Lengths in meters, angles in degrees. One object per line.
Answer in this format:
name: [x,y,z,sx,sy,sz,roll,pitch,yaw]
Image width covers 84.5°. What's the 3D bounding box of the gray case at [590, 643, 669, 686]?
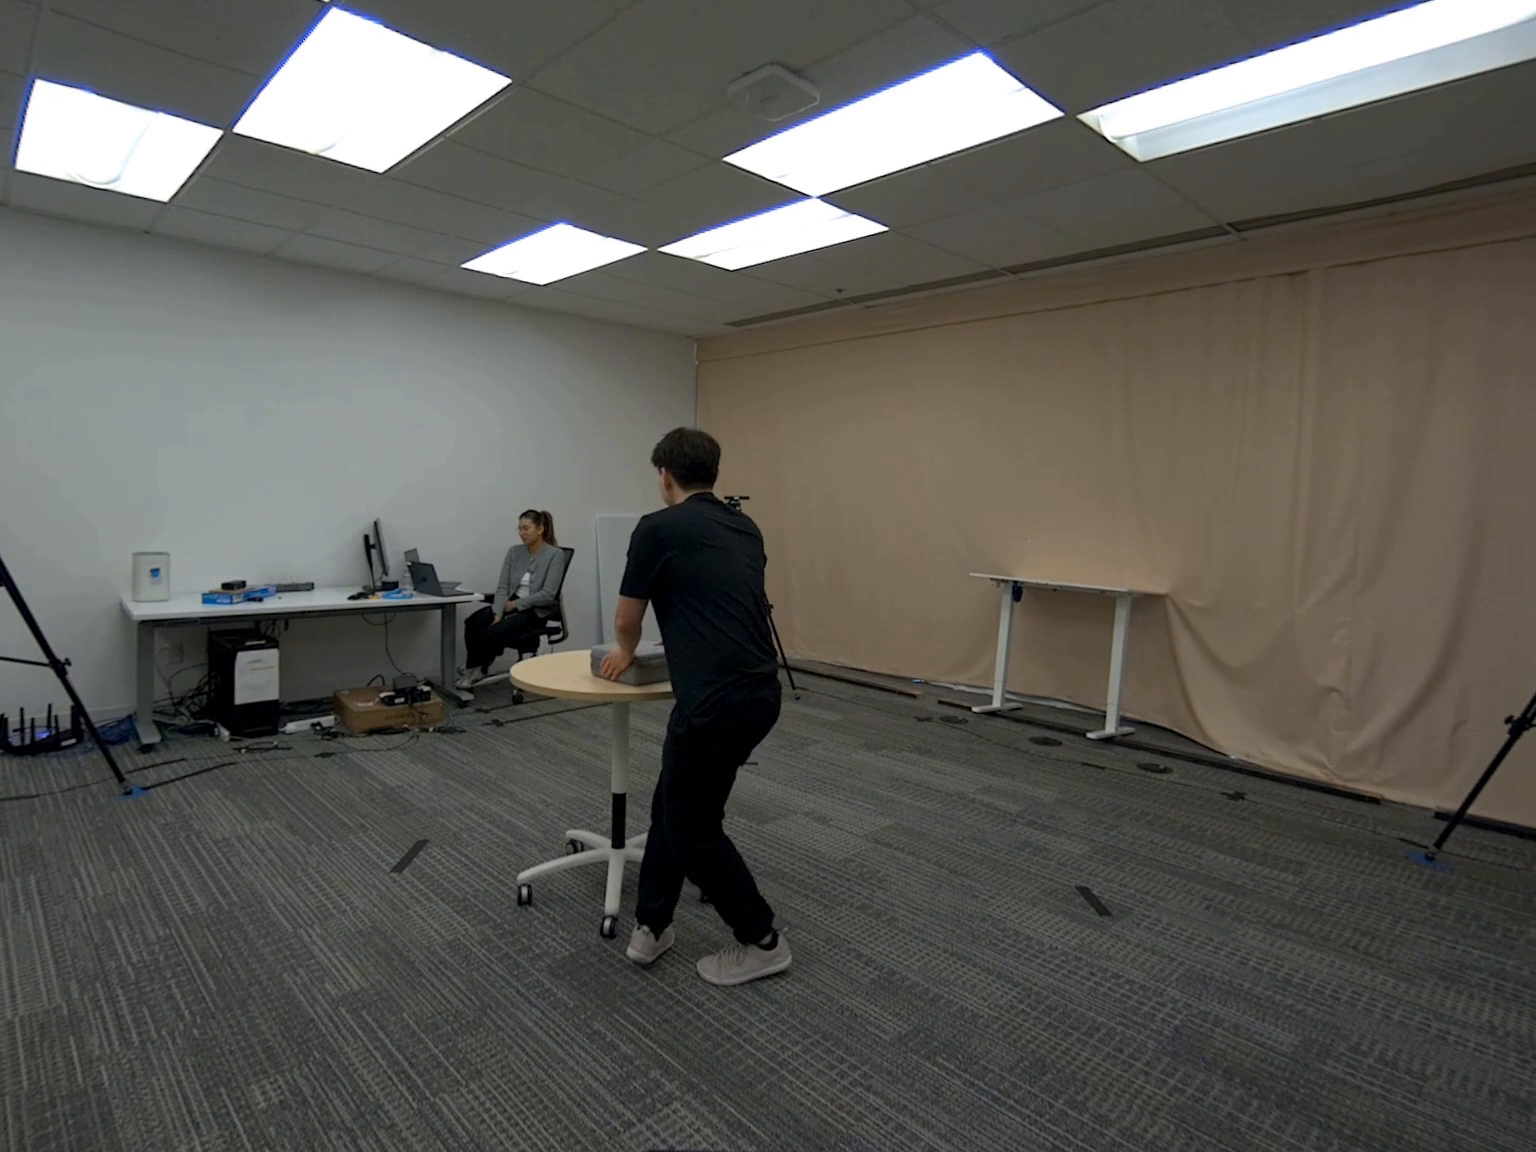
gray case: [-0.438,0.288,2.848,0.267,0.104,0.251,5,7,39]
